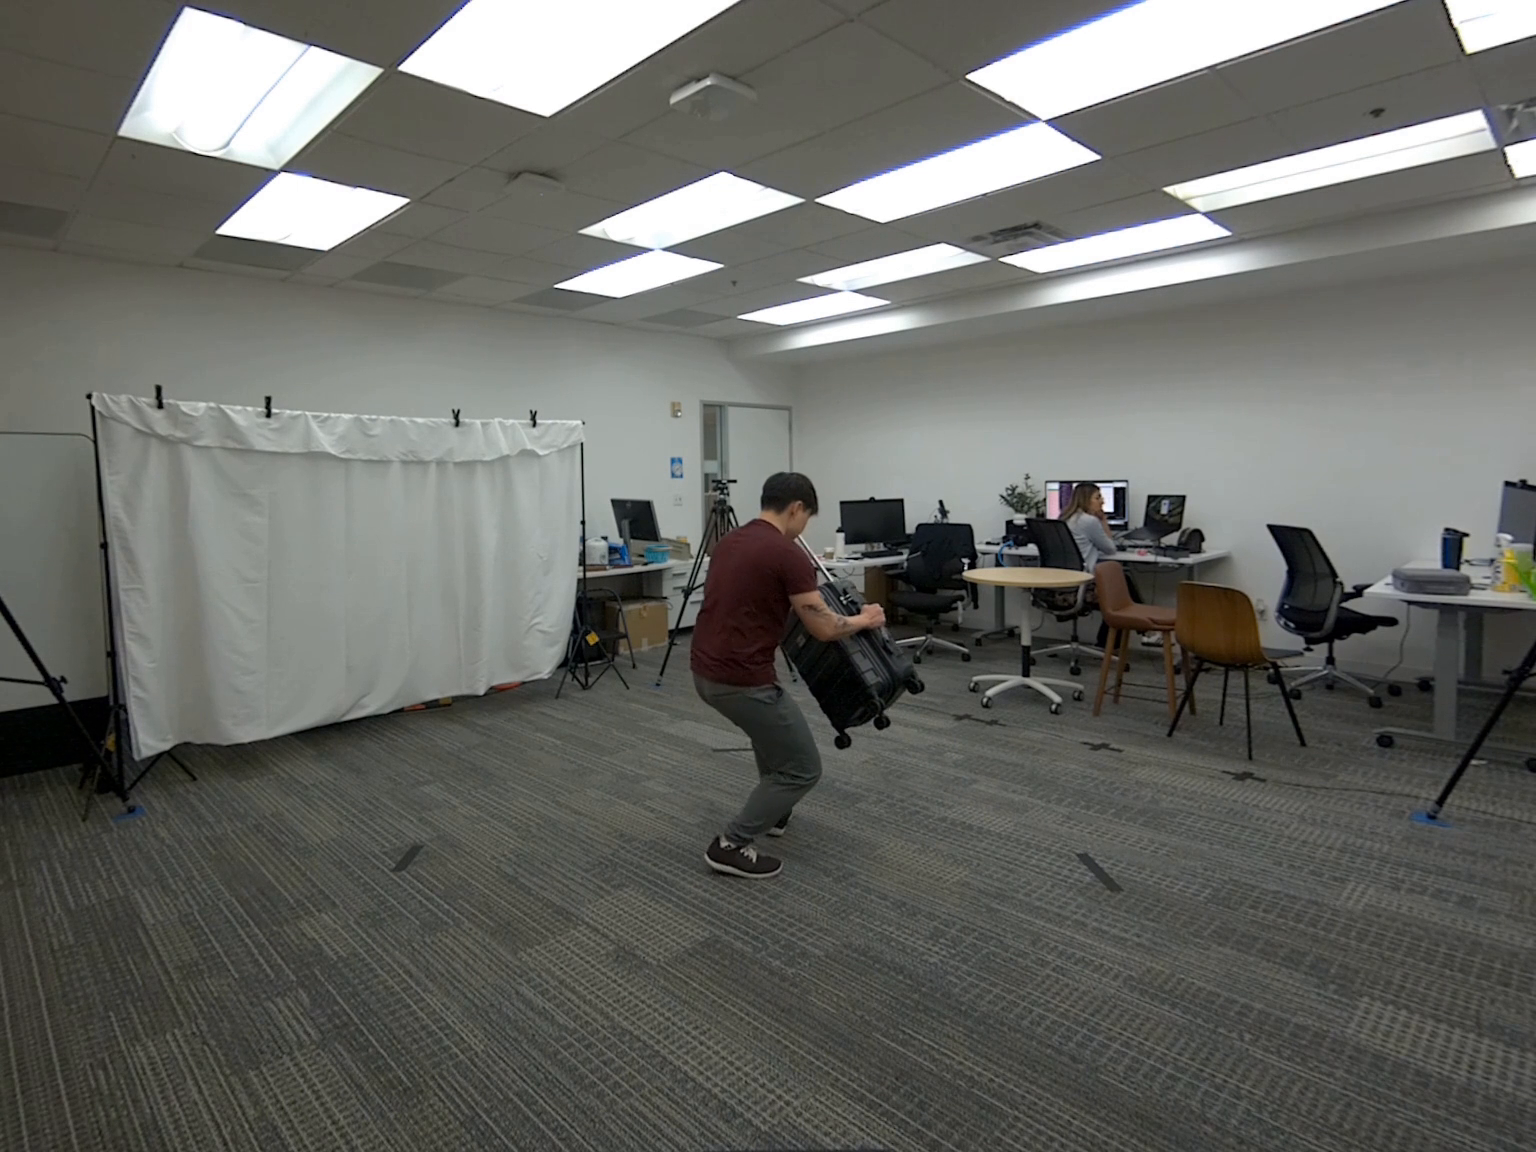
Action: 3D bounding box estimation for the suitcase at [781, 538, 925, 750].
[{"bbox_3d":[0.184,0.149,3.391,0.252,1.008,0.379,-17,-29,-33],"label":"suitcase"}]
